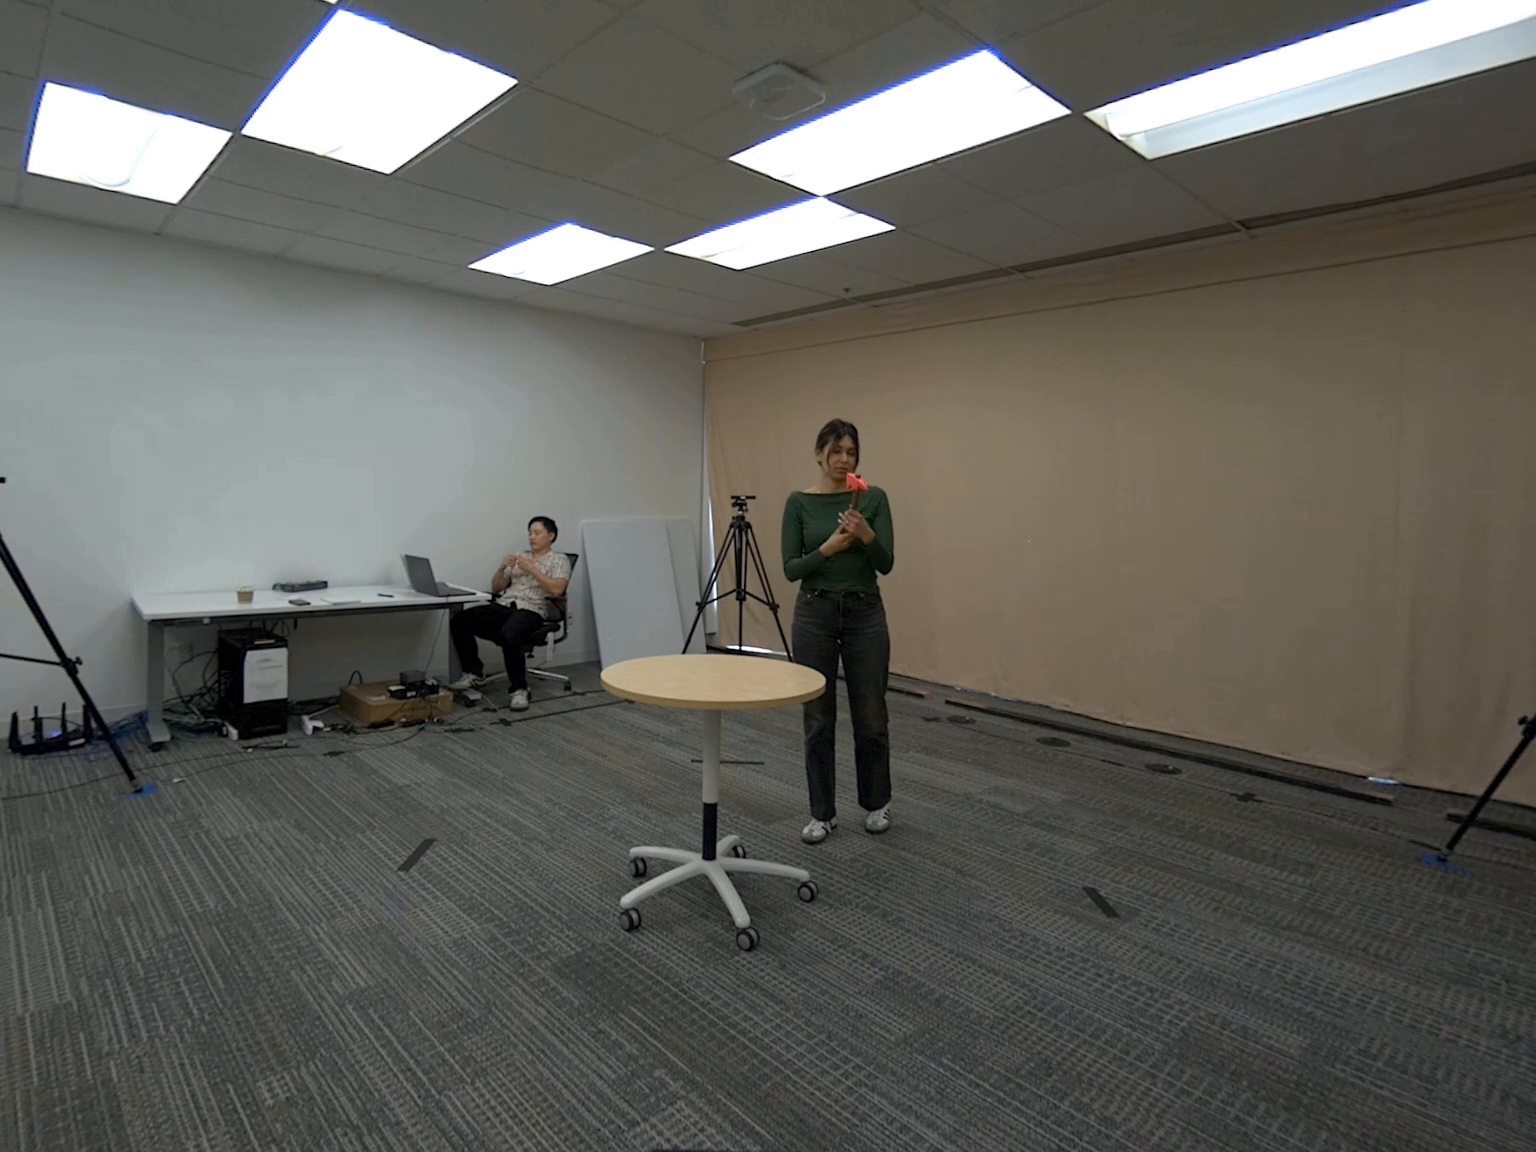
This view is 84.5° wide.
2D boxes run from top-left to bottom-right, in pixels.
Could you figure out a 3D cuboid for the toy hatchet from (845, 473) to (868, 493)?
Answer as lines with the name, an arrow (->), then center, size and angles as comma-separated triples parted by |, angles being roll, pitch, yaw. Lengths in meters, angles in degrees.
toy hatchet -> 0.306, -0.281, 3.155 | 0.029, 0.135, 0.265 | -12, -37, -19
